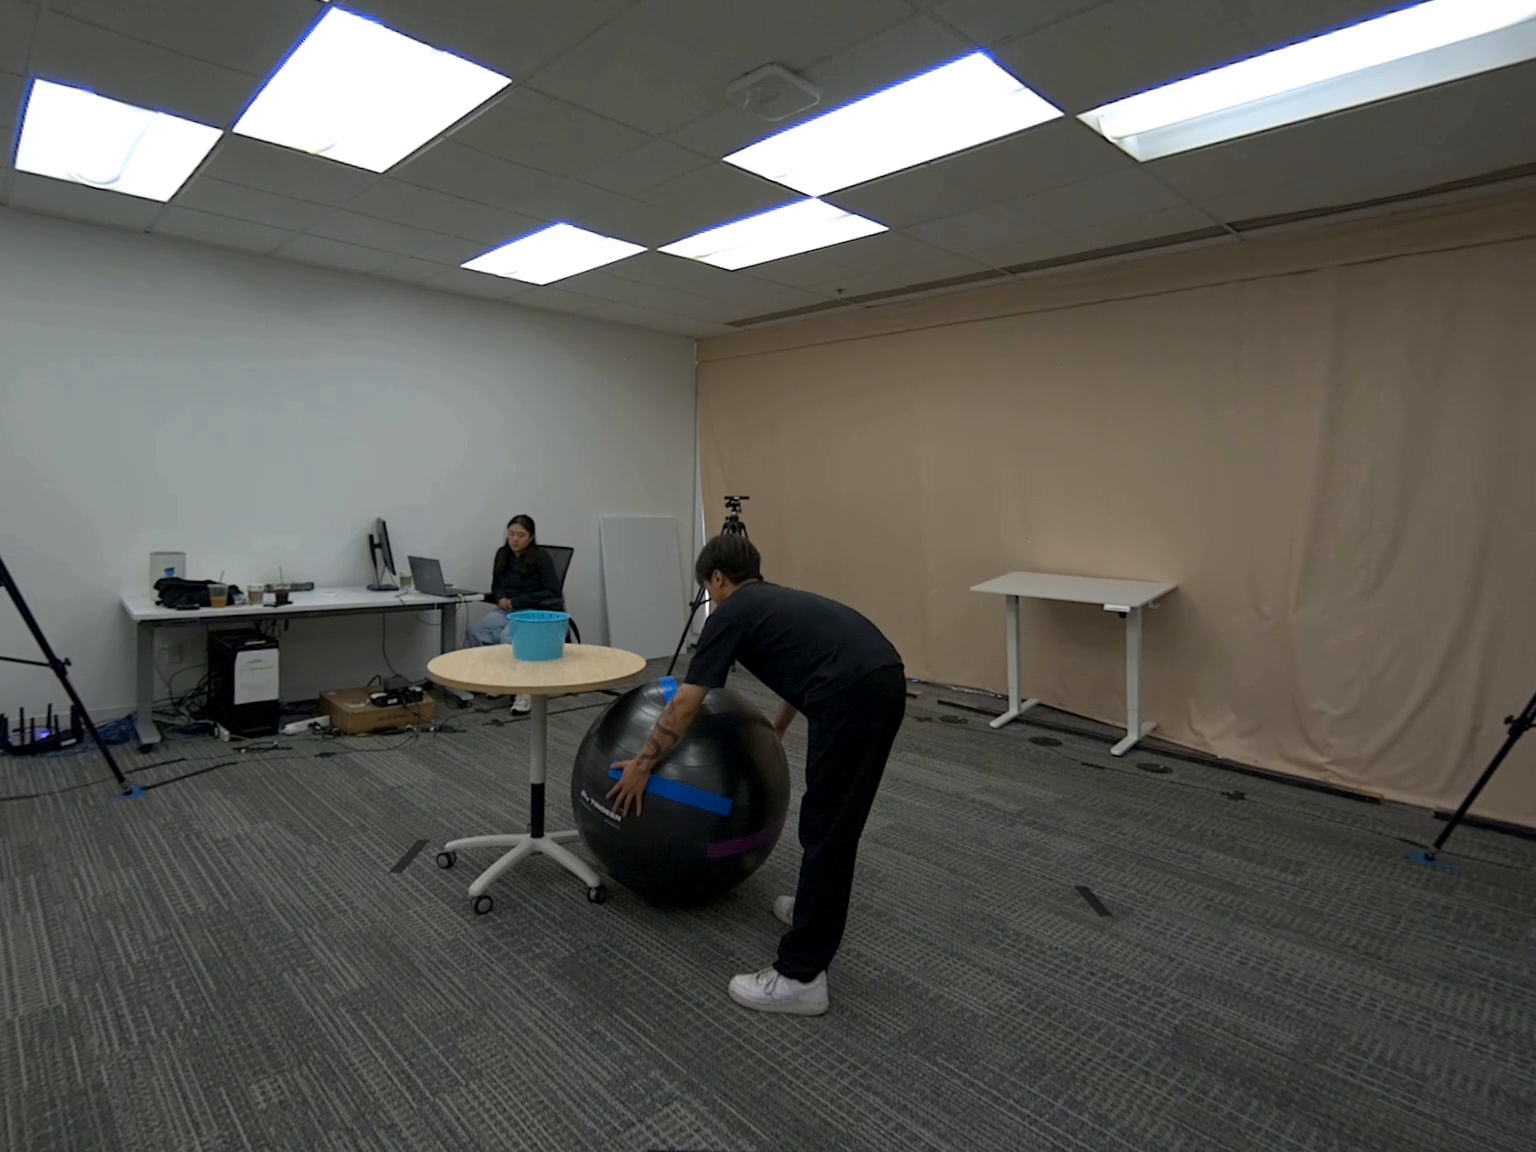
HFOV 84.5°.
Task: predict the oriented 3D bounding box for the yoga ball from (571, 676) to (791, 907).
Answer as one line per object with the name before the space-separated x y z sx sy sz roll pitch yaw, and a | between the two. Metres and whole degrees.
yoga ball | -0.307 0.746 2.954 0.757 0.756 0.761 1 4 -1
